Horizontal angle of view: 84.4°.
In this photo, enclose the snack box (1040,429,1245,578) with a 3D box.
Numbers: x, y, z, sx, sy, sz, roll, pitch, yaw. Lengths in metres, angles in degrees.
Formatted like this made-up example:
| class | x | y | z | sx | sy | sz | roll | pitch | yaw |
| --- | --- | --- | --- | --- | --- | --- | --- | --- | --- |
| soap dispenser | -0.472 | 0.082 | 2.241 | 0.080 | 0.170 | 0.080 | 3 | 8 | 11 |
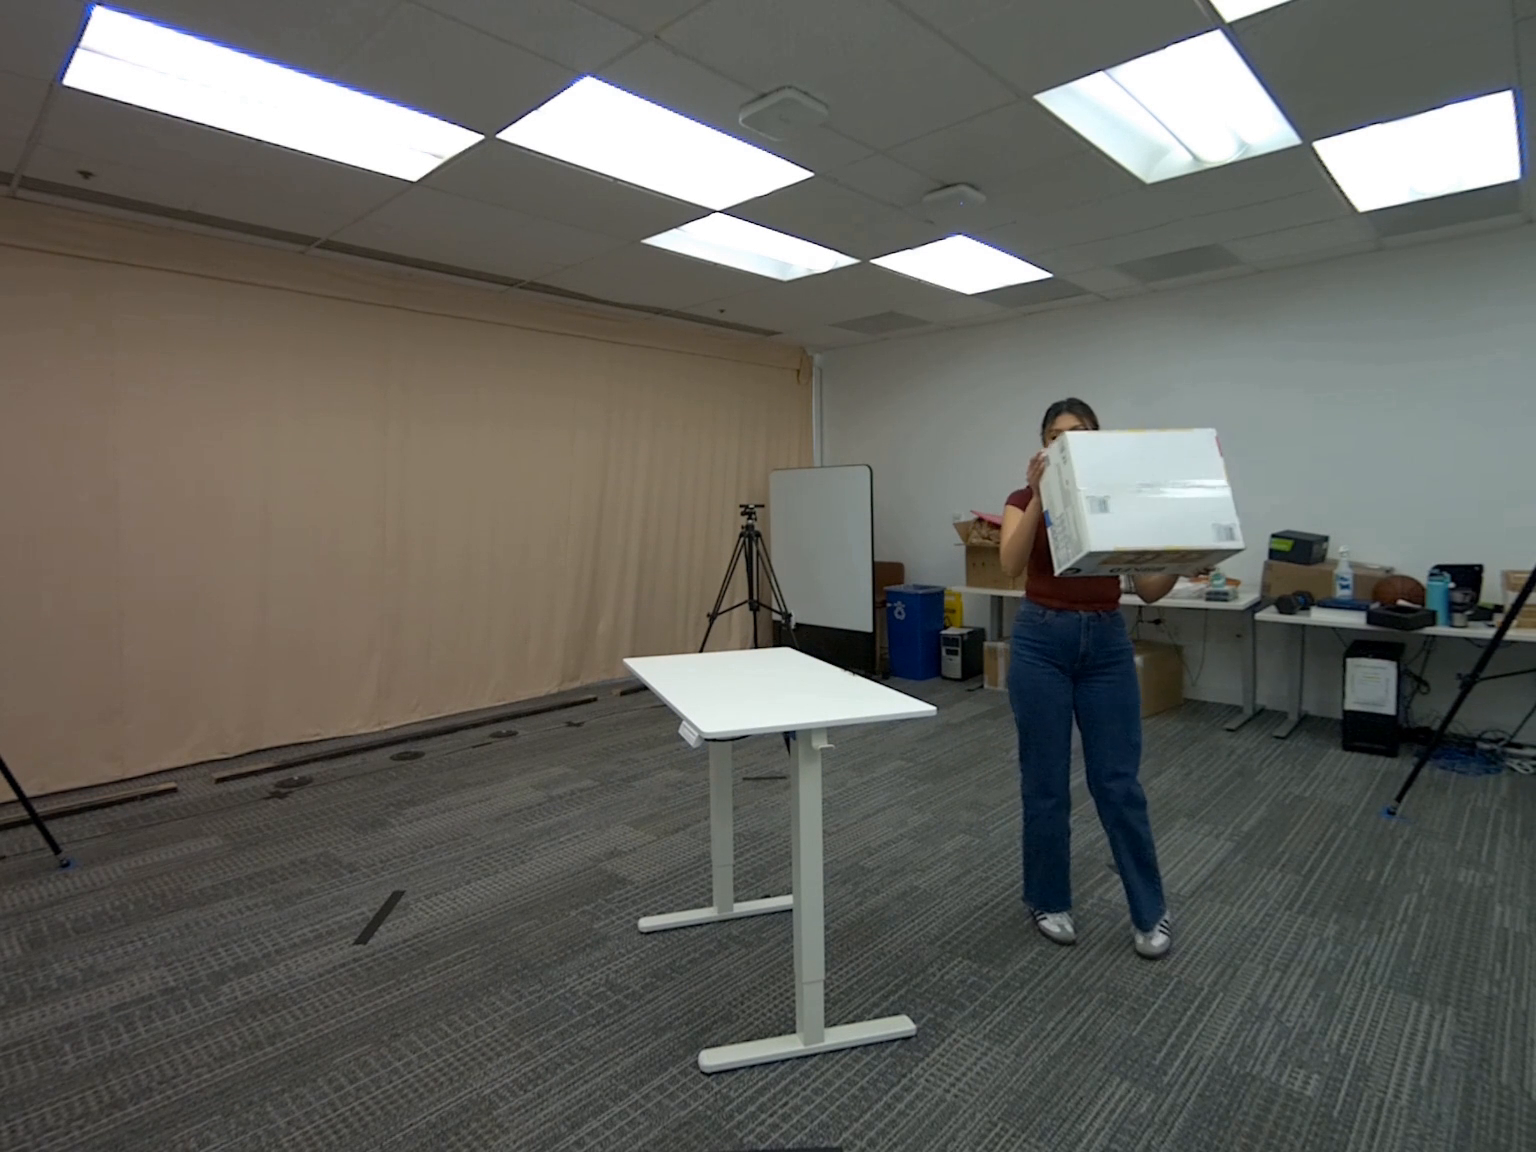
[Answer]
| class | x | y | z | sx | sy | sz | roll | pitch | yaw |
| --- | --- | --- | --- | --- | --- | --- | --- | --- | --- |
| snack box | 0.980 | -0.193 | 2.247 | 0.404 | 0.344 | 0.204 | -2 | -19 | -3 |
